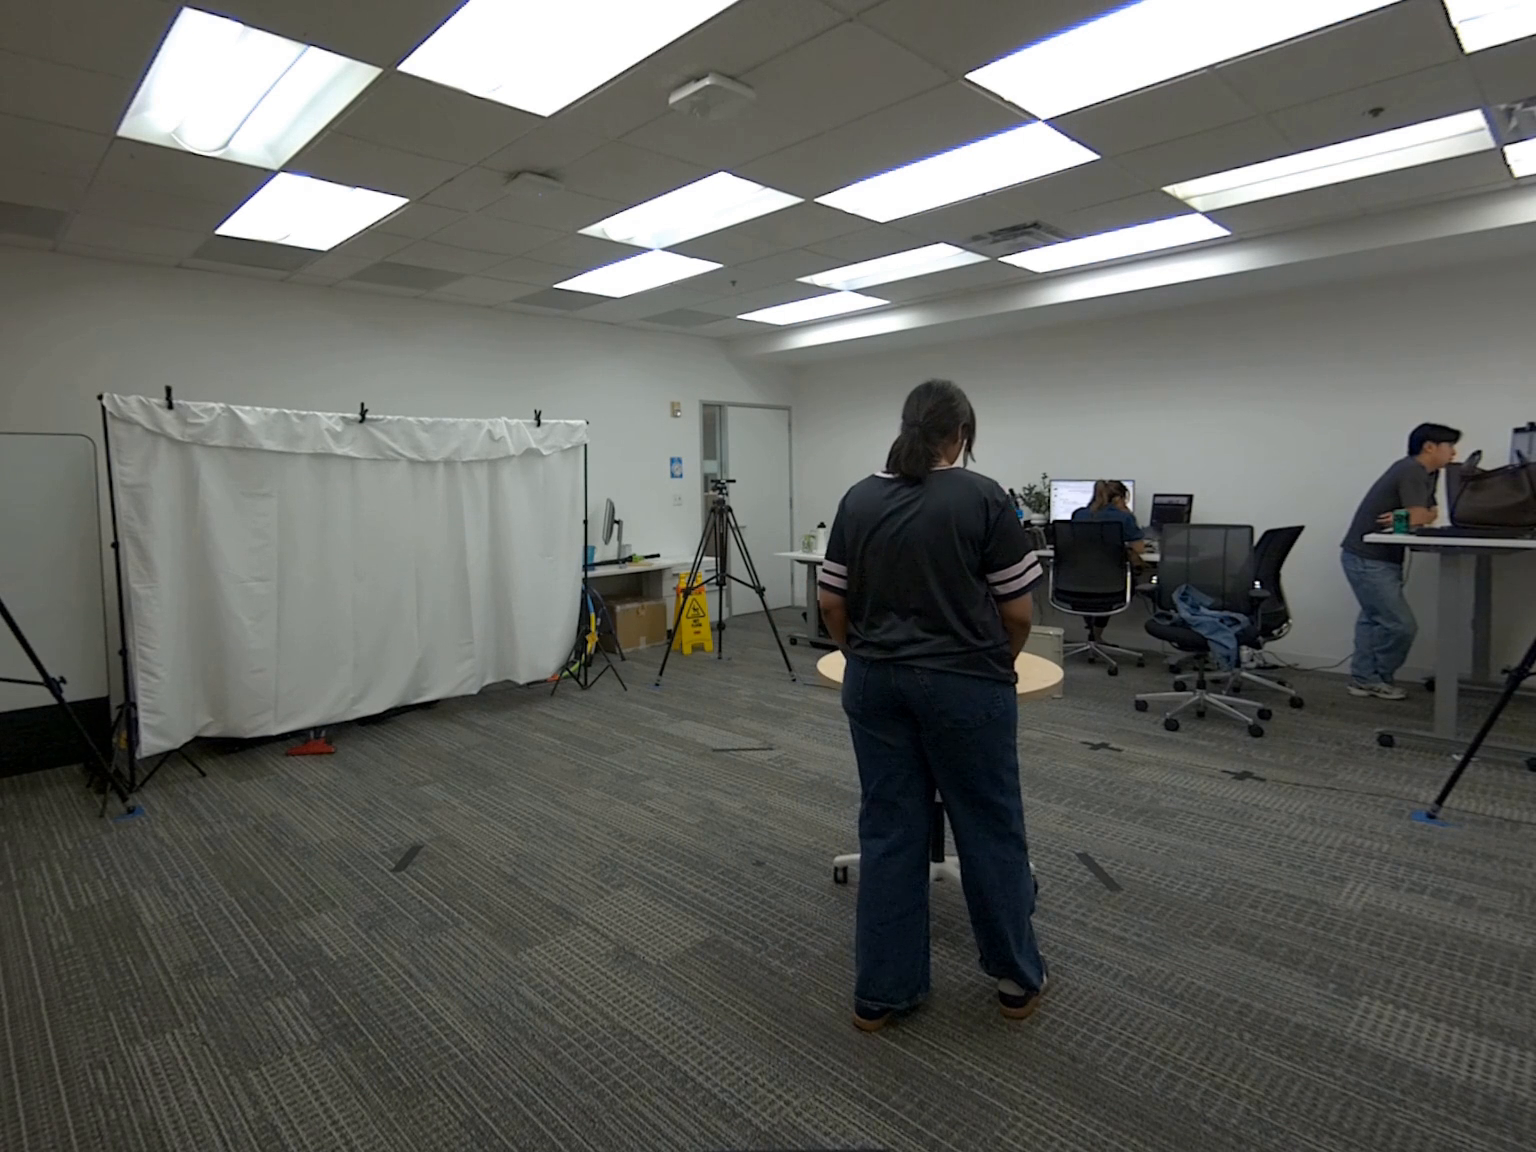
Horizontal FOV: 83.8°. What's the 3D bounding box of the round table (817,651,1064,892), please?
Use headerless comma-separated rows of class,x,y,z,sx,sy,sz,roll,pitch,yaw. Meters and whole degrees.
round table,0.559,0.679,2.796,0.784,0.783,0.790,-2,6,-2
